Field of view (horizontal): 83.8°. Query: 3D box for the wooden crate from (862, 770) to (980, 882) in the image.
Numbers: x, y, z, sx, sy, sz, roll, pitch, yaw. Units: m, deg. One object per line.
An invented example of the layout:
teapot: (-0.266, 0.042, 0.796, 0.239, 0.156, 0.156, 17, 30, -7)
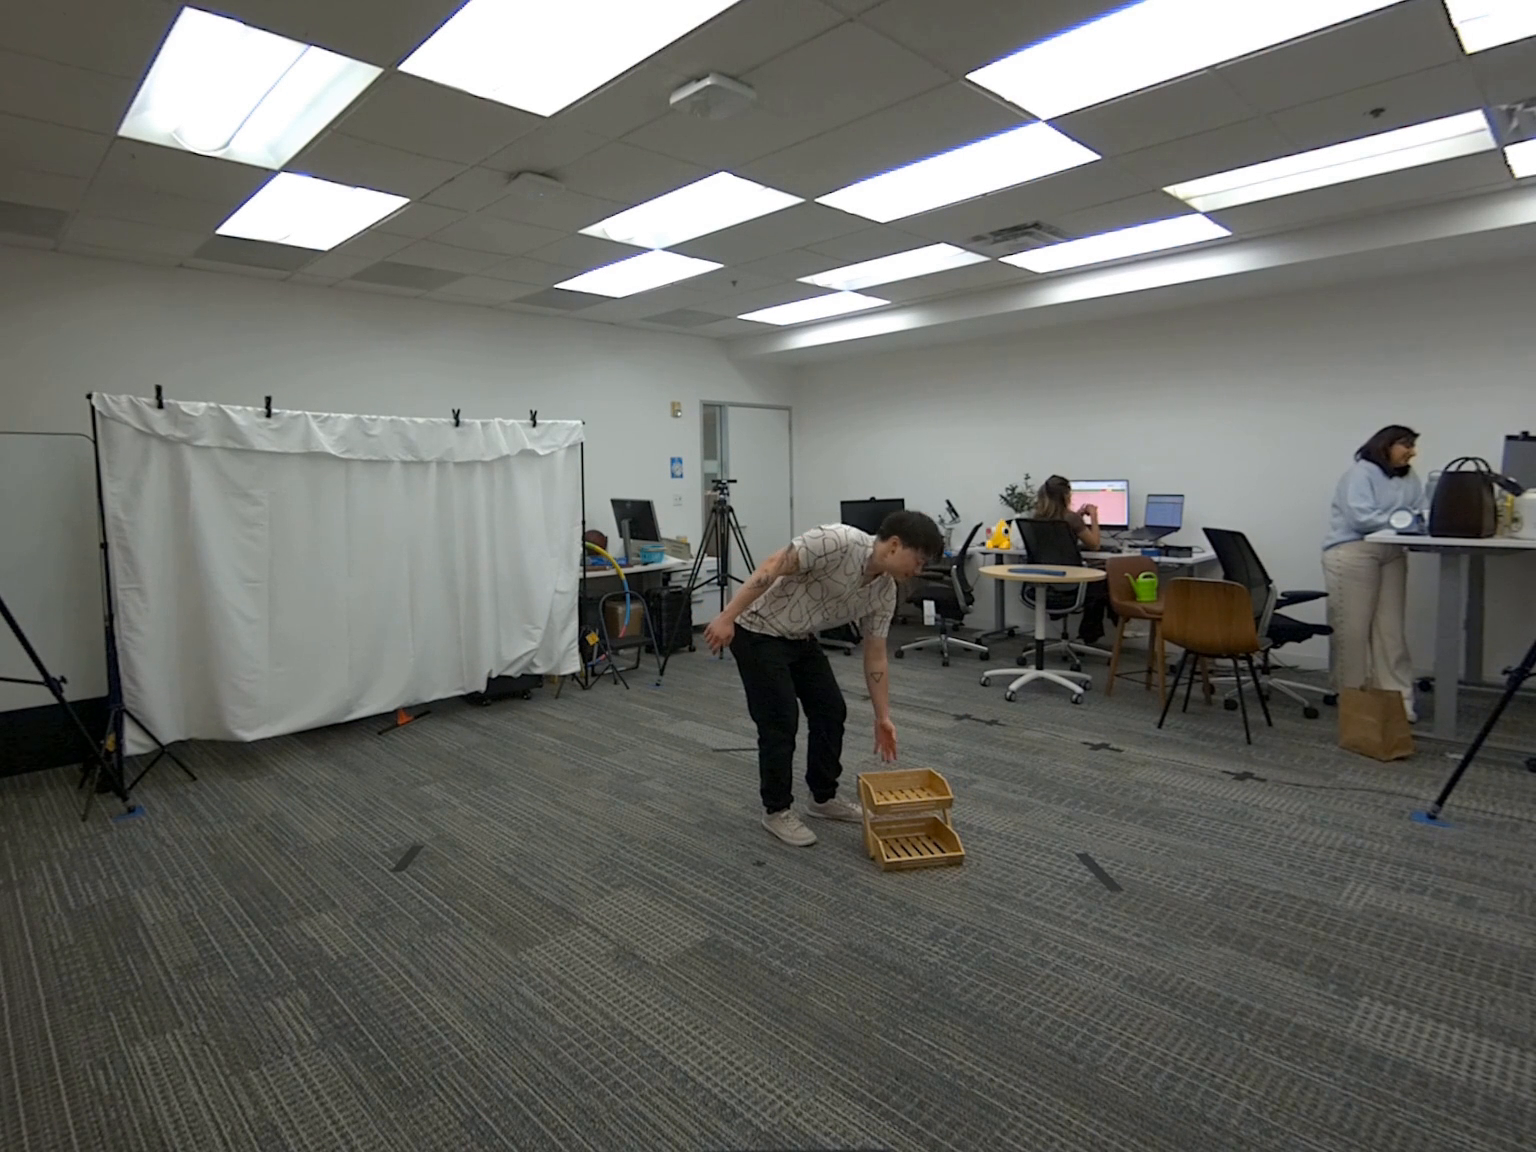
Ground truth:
wooden crate: (0.555, 0.908, 3.156, 0.321, 0.272, 0.306, -1, 4, -13)
